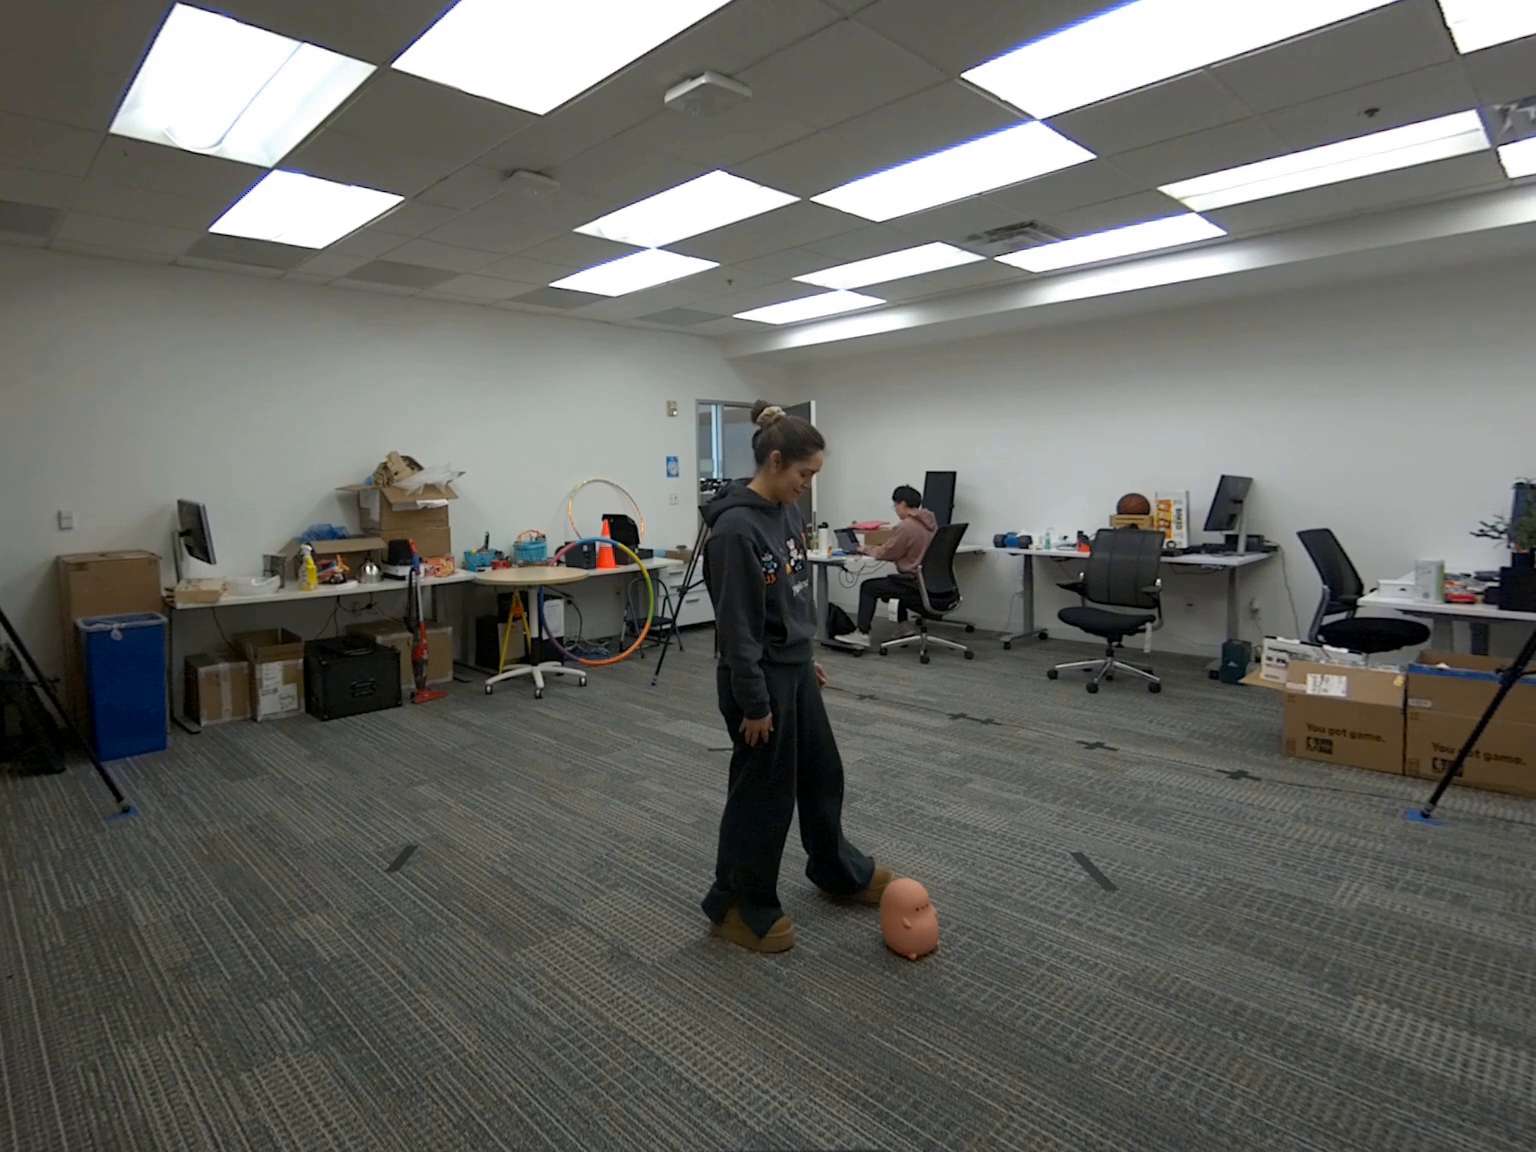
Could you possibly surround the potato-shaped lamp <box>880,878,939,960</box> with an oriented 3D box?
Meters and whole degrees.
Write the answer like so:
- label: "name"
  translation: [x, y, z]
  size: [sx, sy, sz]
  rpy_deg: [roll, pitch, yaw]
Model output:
- label: "potato-shaped lamp"
  translation: [0.418, 1.005, 2.513]
  size: [0.161, 0.197, 0.176]
  rpy_deg: [-6, 6, -36]
